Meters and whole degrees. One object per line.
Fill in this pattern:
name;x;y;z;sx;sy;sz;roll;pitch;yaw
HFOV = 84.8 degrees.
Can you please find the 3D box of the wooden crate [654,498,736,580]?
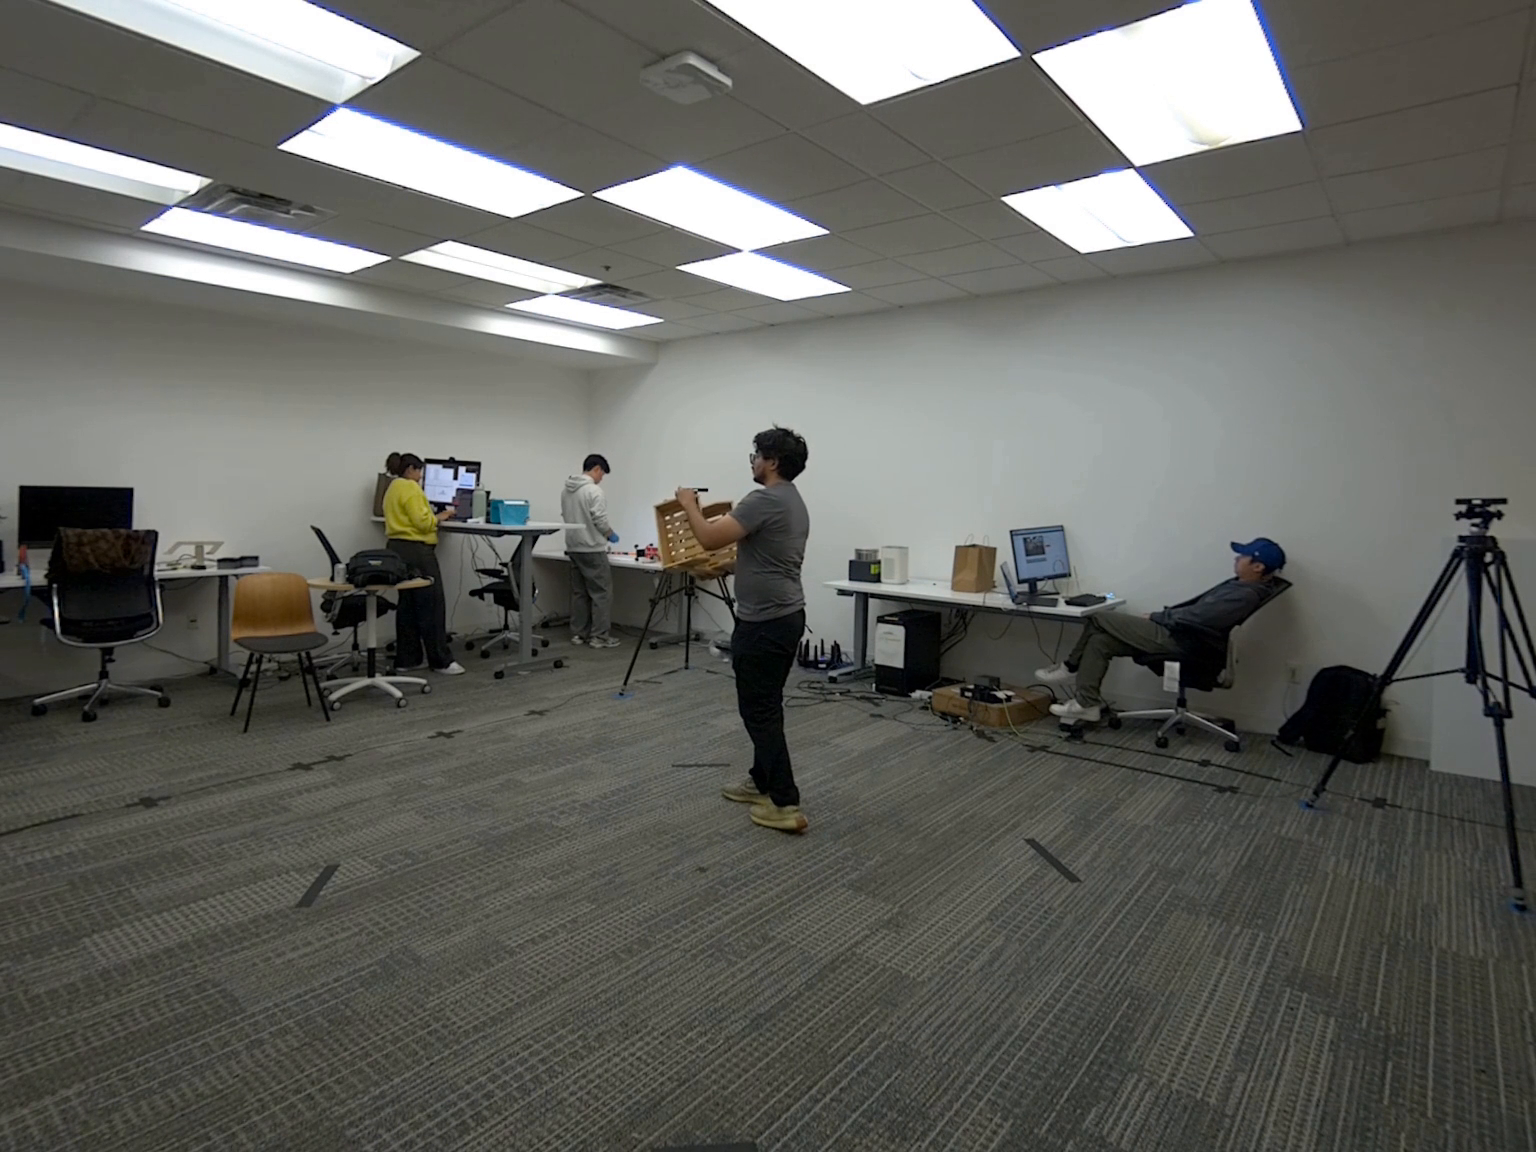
wooden crate;-0.315;-0.187;3.802;0.306;0.331;0.264;-16;-20;19
